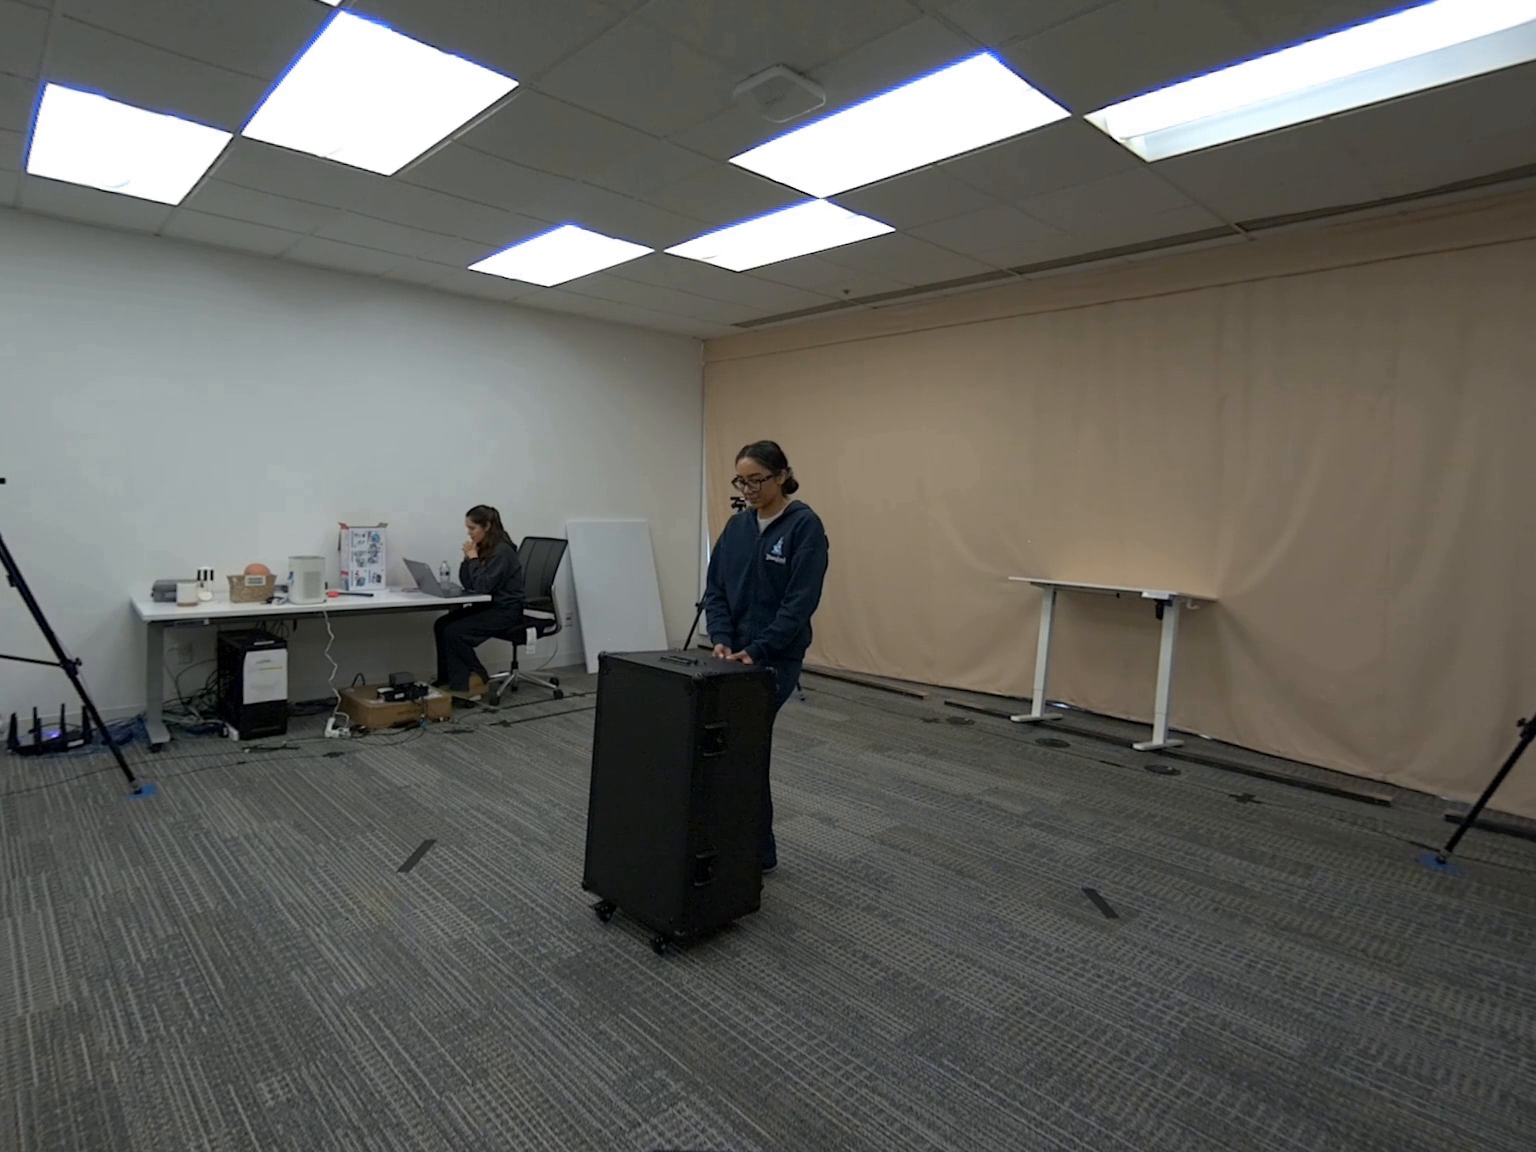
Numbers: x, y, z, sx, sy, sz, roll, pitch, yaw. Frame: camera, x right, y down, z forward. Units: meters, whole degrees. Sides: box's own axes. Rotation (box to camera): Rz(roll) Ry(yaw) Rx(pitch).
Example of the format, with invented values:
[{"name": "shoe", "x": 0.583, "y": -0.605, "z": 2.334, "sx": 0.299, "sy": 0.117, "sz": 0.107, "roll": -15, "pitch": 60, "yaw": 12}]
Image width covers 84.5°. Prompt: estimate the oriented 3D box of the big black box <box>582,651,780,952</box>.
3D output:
[{"name": "big black box", "x": -0.297, "y": 0.705, "z": 2.755, "sx": 0.534, "sy": 0.862, "sz": 0.386, "roll": 4, "pitch": -1, "yaw": 42}]
